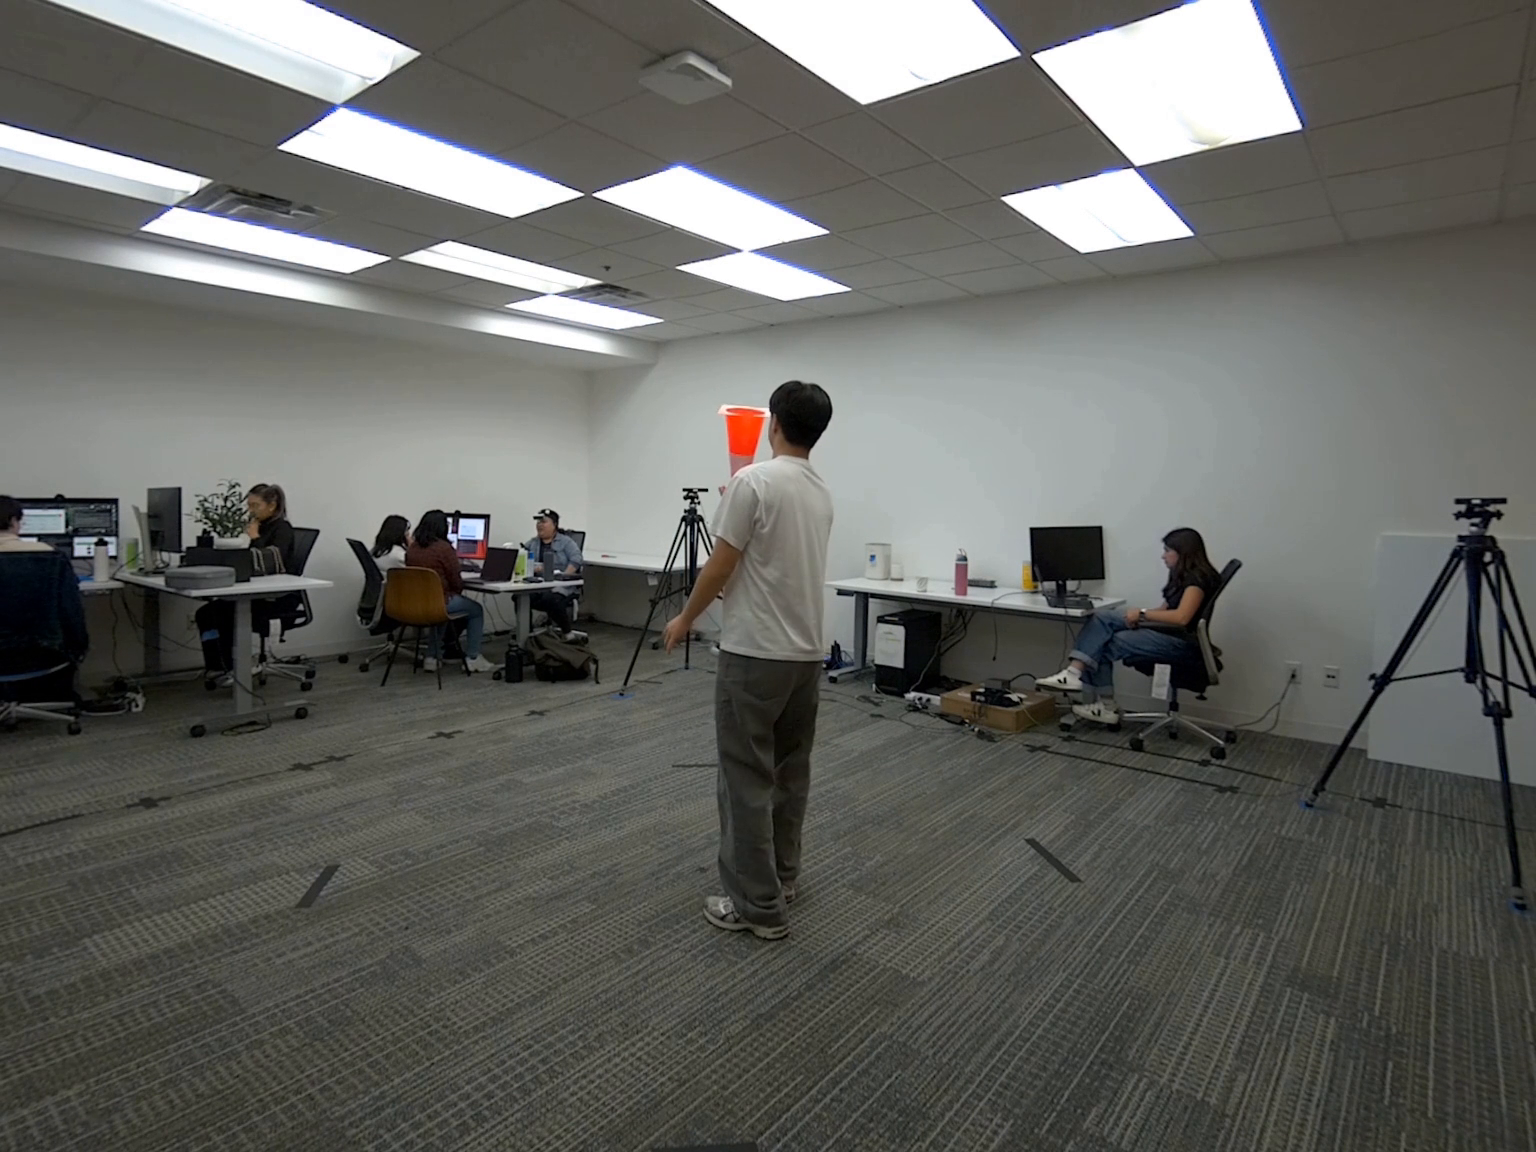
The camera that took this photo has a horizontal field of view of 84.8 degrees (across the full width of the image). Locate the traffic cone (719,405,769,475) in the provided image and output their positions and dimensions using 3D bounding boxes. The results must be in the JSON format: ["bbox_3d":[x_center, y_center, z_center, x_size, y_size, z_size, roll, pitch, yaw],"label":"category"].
[{"bbox_3d":[-0.105,-0.466,3.358,0.206,0.378,0.205,10,19,11],"label":"traffic cone"}]
